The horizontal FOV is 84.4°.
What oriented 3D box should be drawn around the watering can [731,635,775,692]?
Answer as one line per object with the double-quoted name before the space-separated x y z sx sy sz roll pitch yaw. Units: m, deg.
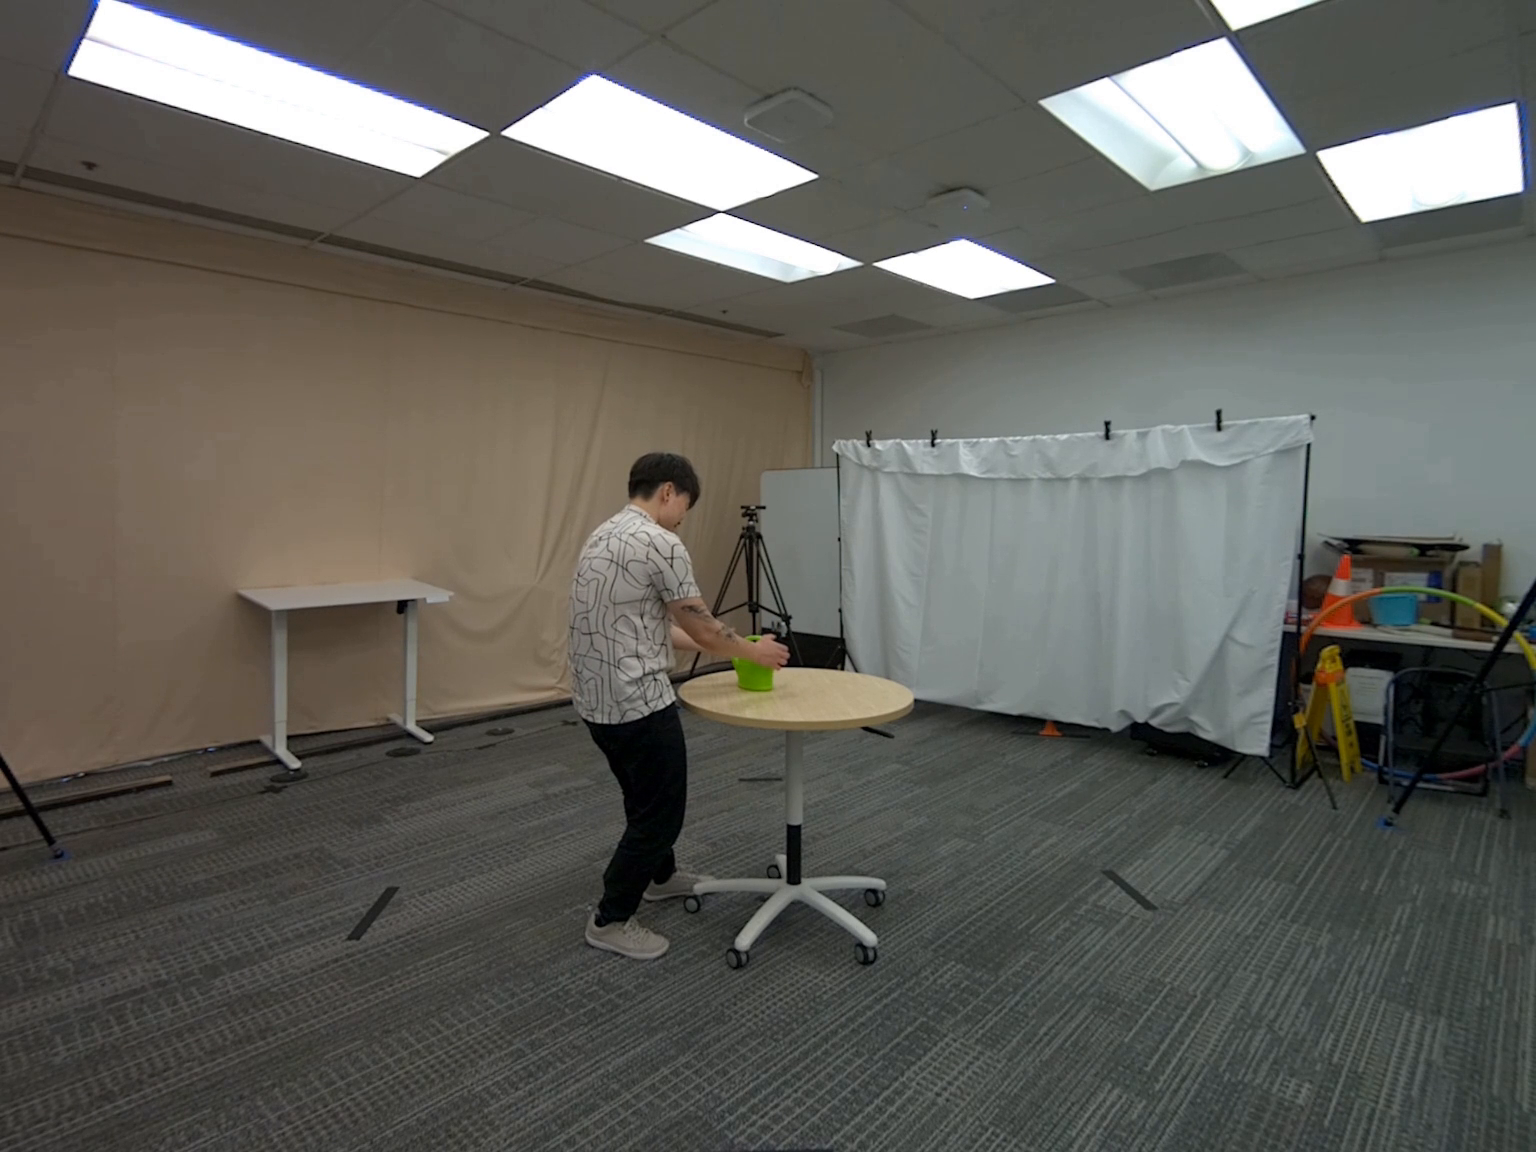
"watering can" -0.059 0.286 2.841 0.095 0.177 0.287 5 0 -36
